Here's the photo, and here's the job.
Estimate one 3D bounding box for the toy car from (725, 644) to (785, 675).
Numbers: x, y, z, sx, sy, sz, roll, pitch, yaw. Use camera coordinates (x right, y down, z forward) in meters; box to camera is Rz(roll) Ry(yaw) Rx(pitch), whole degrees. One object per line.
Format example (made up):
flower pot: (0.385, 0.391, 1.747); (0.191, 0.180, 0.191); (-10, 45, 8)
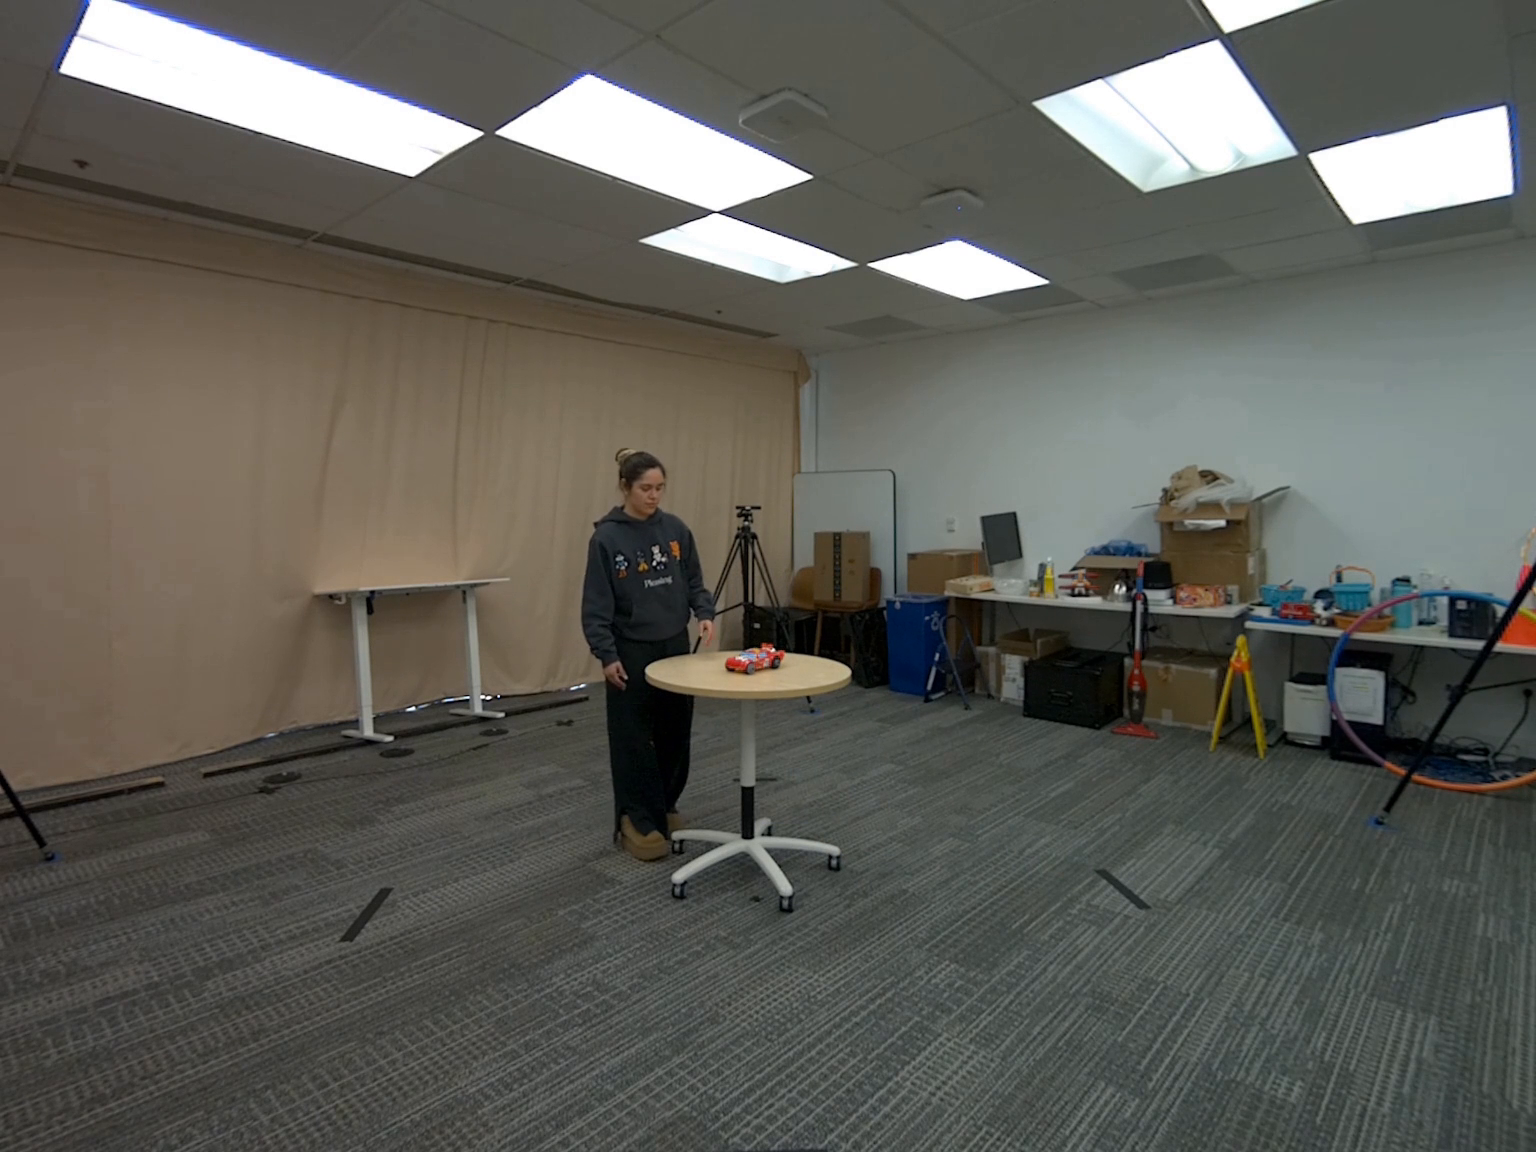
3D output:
toy car: (-0.022, 0.314, 3.143); (0.134, 0.082, 0.248); (3, 17, 42)
